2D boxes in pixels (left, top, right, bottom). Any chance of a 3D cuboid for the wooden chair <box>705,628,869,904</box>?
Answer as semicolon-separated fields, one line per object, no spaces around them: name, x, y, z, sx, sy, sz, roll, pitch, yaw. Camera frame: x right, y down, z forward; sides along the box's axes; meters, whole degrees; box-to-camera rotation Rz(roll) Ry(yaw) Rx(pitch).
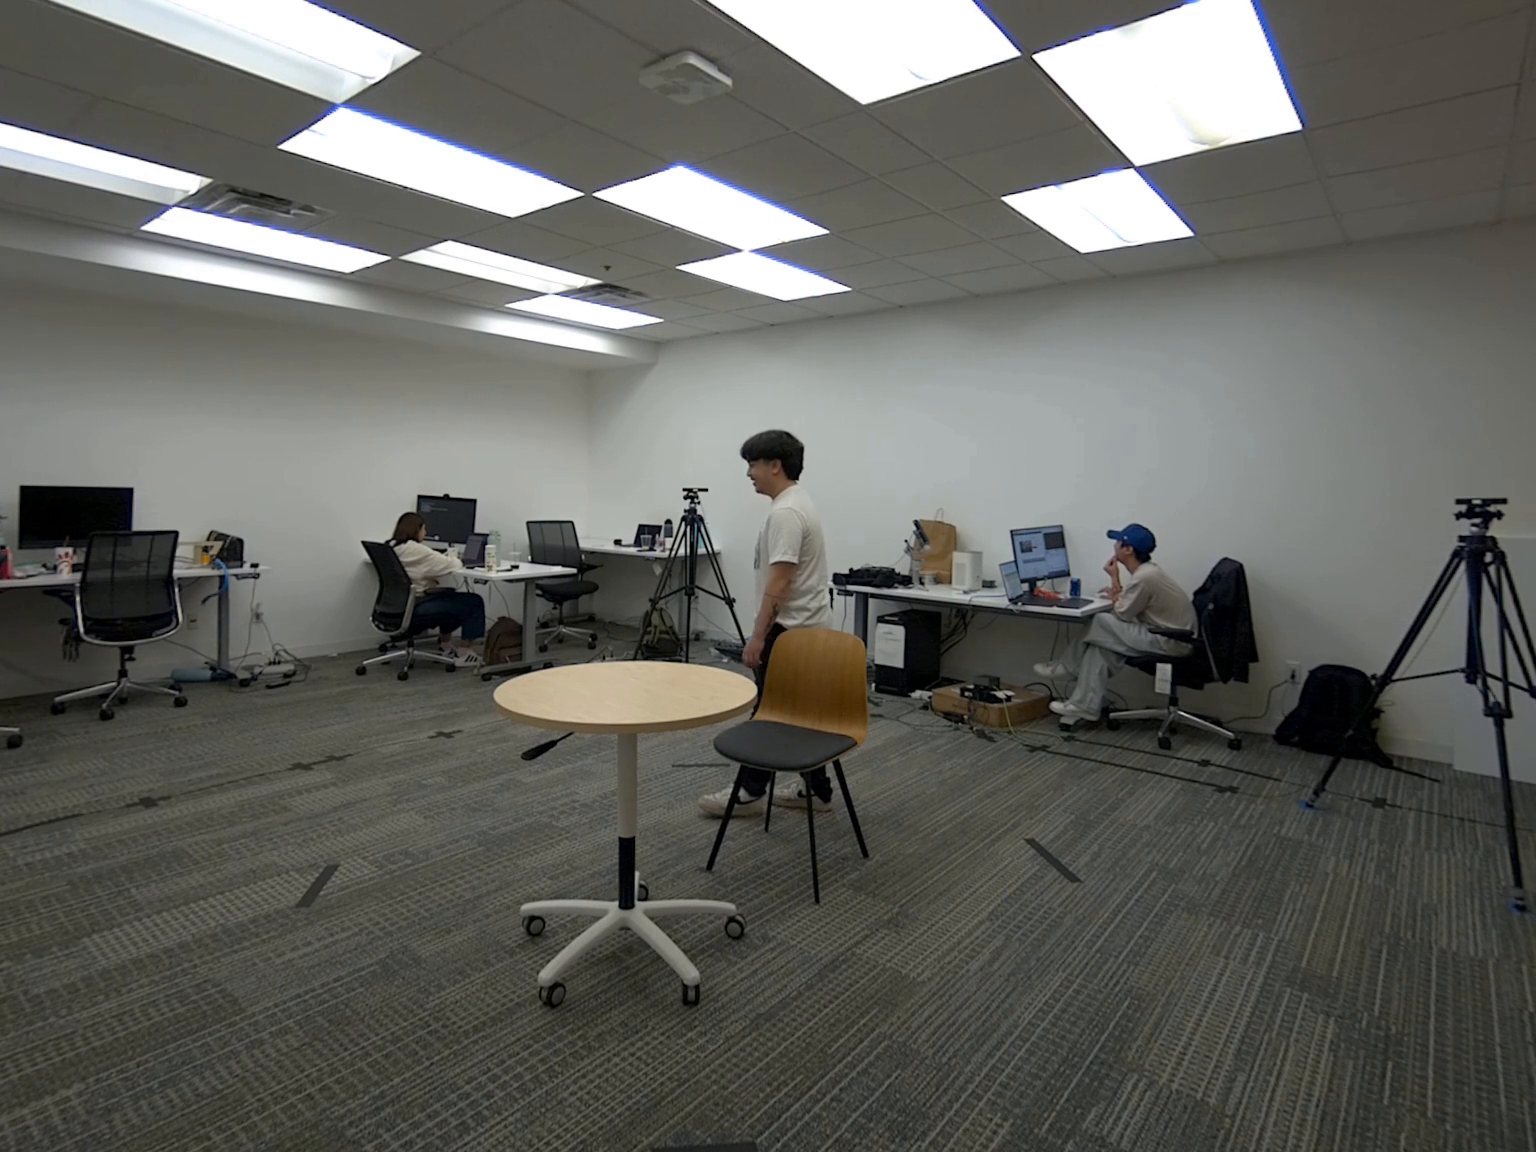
wooden chair;0.081;0.643;3.139;0.493;0.878;0.507;4;0;31
